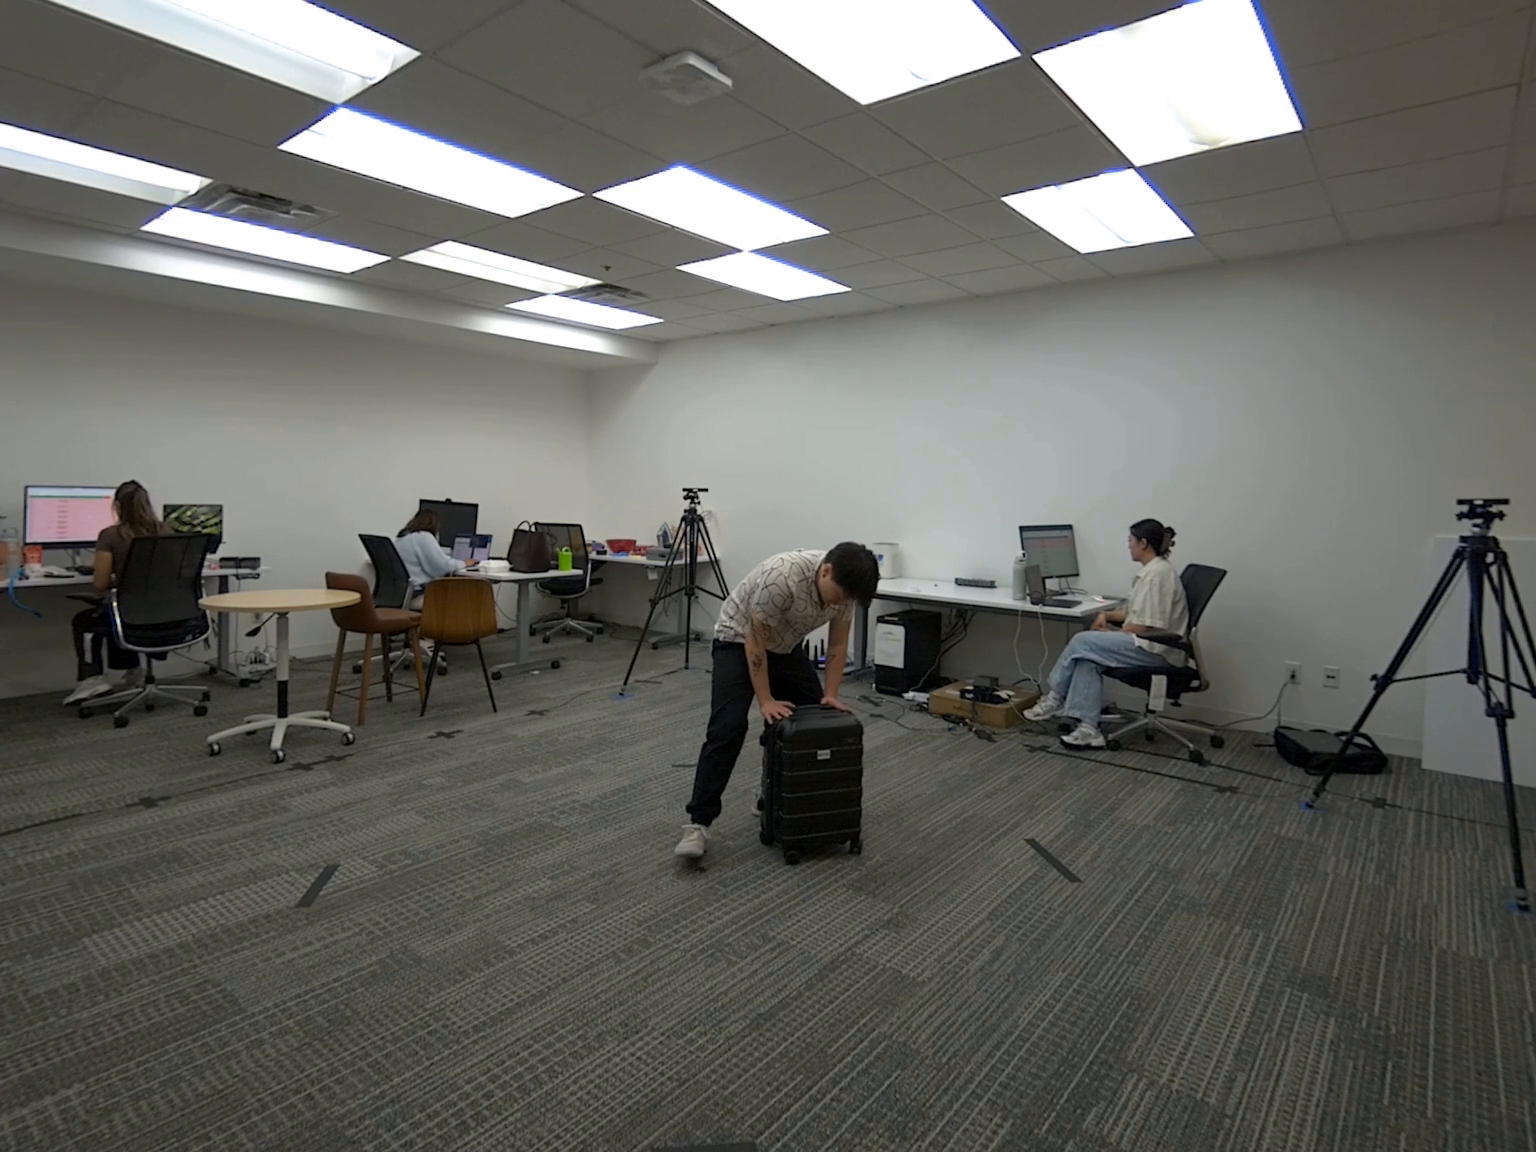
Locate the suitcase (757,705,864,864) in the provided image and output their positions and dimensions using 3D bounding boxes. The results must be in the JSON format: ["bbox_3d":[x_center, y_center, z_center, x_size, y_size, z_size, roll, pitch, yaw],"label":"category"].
[{"bbox_3d":[0.163,0.783,3.300,0.368,0.547,0.254,-1,5,-20],"label":"suitcase"}]
